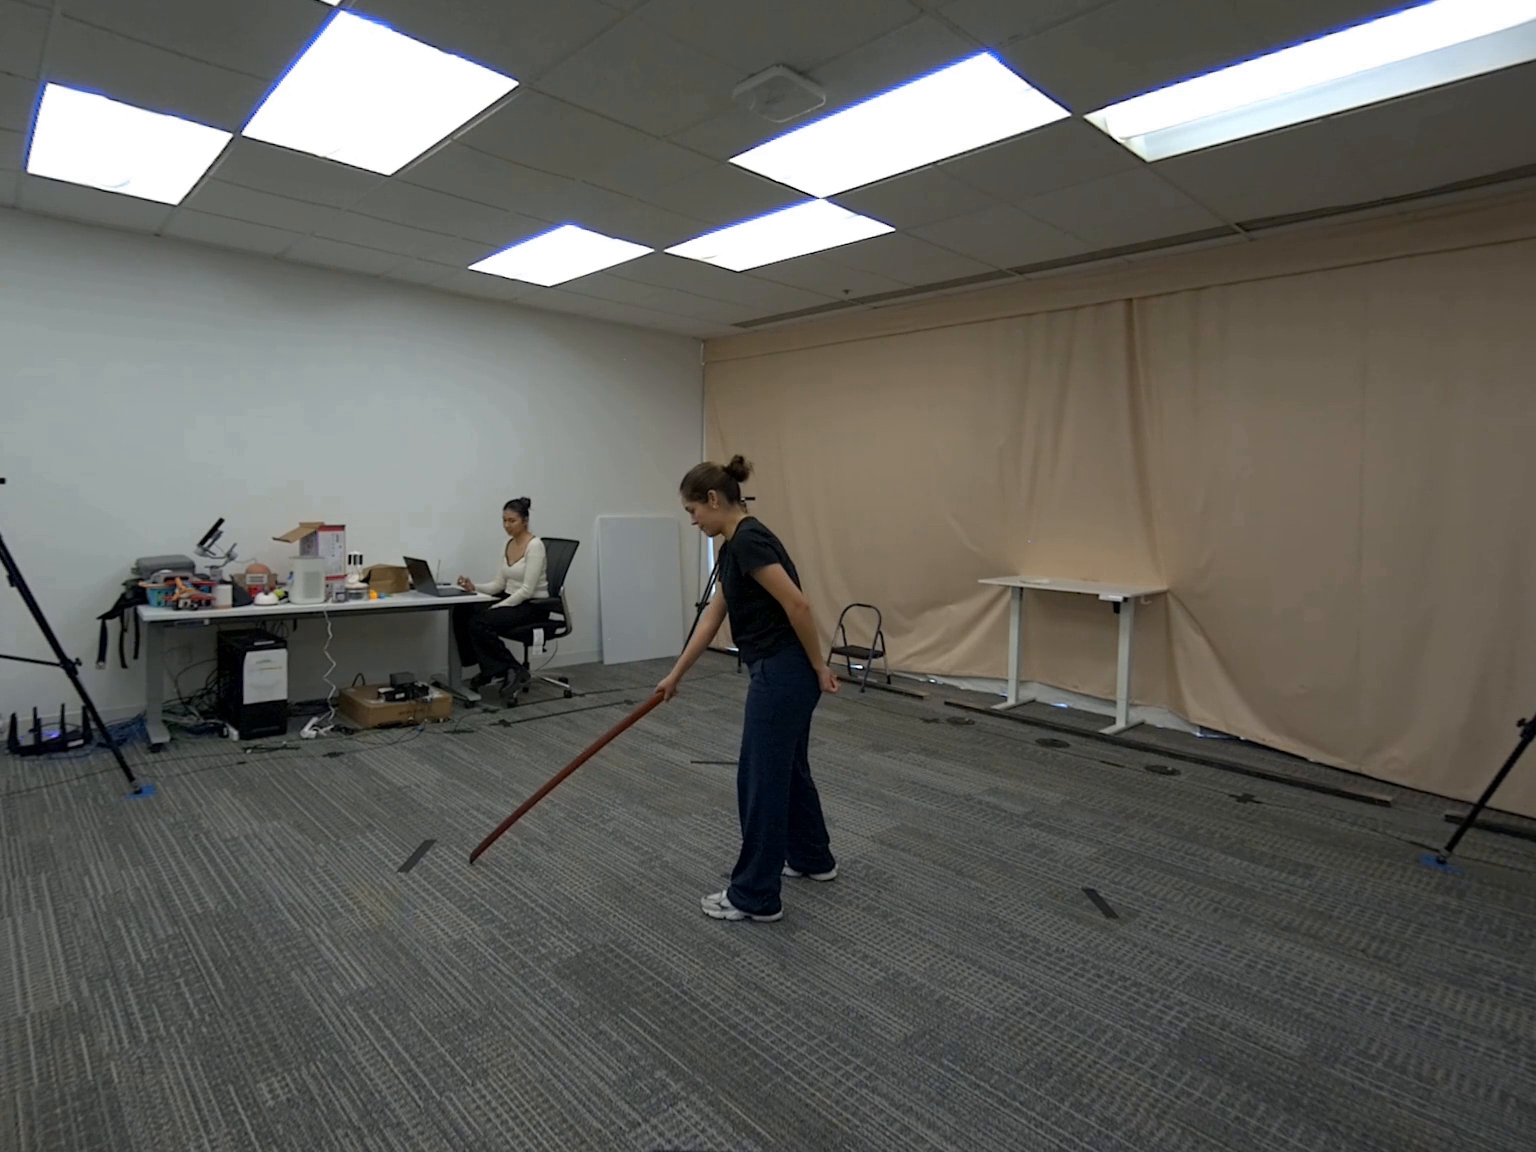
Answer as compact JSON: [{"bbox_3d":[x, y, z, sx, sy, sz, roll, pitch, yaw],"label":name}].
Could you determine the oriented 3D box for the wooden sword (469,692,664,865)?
[{"bbox_3d":[-0.736,0.728,3.096,1.025,0.052,0.024,-41,-8,5],"label":"wooden sword"}]
